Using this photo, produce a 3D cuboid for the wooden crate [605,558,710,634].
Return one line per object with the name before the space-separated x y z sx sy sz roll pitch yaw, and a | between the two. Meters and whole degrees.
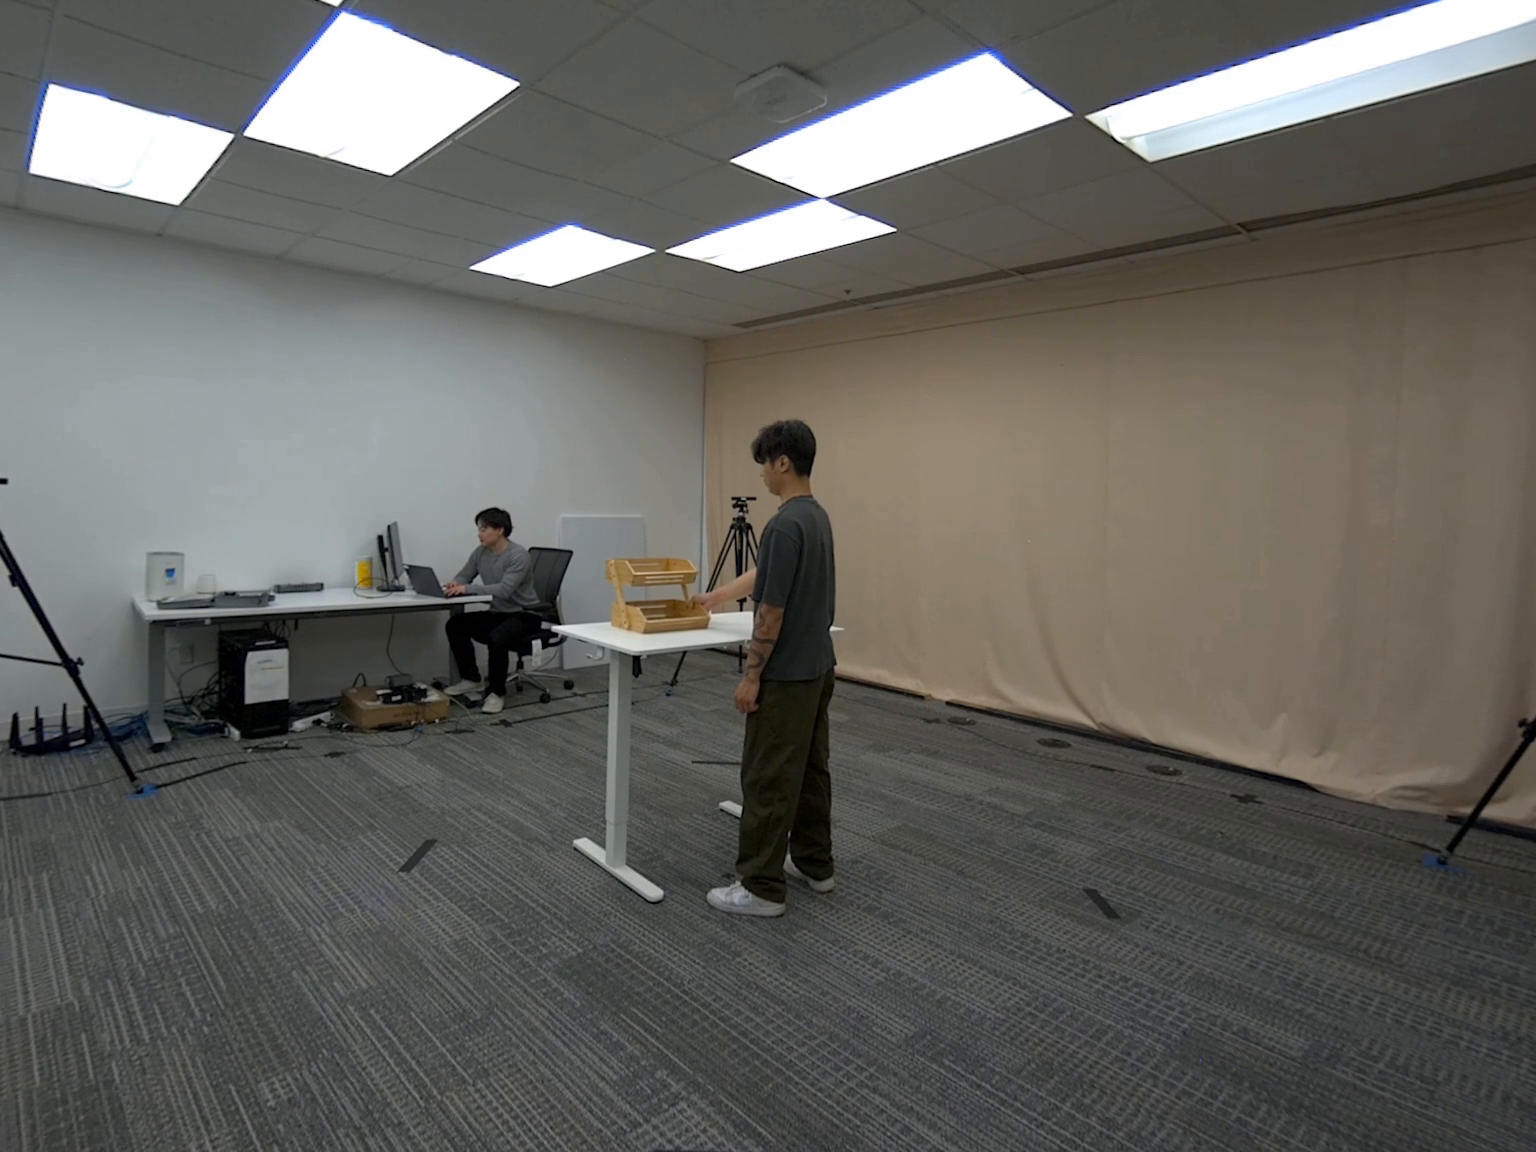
wooden crate | -0.439 0.067 3.297 0.317 0.273 0.310 -1 5 -40
